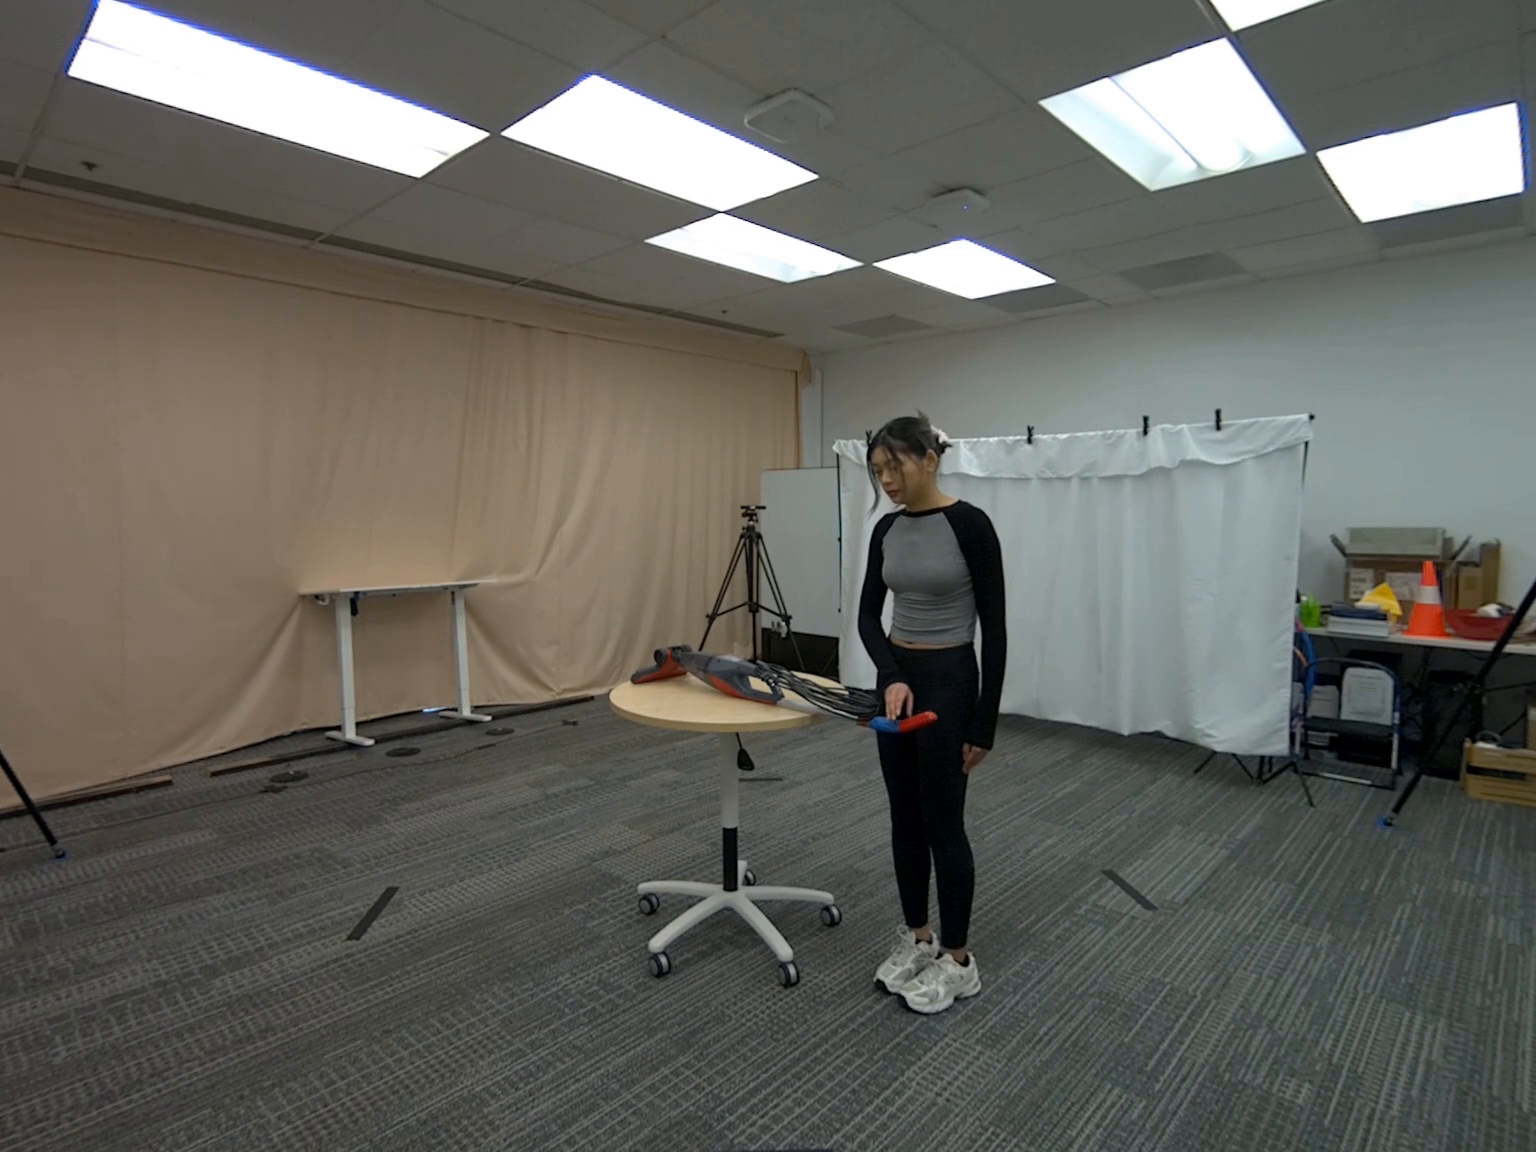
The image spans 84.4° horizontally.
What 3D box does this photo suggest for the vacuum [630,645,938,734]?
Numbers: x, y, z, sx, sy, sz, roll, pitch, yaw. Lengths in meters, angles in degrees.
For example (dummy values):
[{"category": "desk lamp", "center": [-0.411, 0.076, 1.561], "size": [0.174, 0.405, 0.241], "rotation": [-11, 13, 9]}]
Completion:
[{"category": "vacuum", "center": [0.011, 0.338, 2.518], "size": [0.245, 0.143, 1.085], "rotation": [-7, 8, -43]}]
